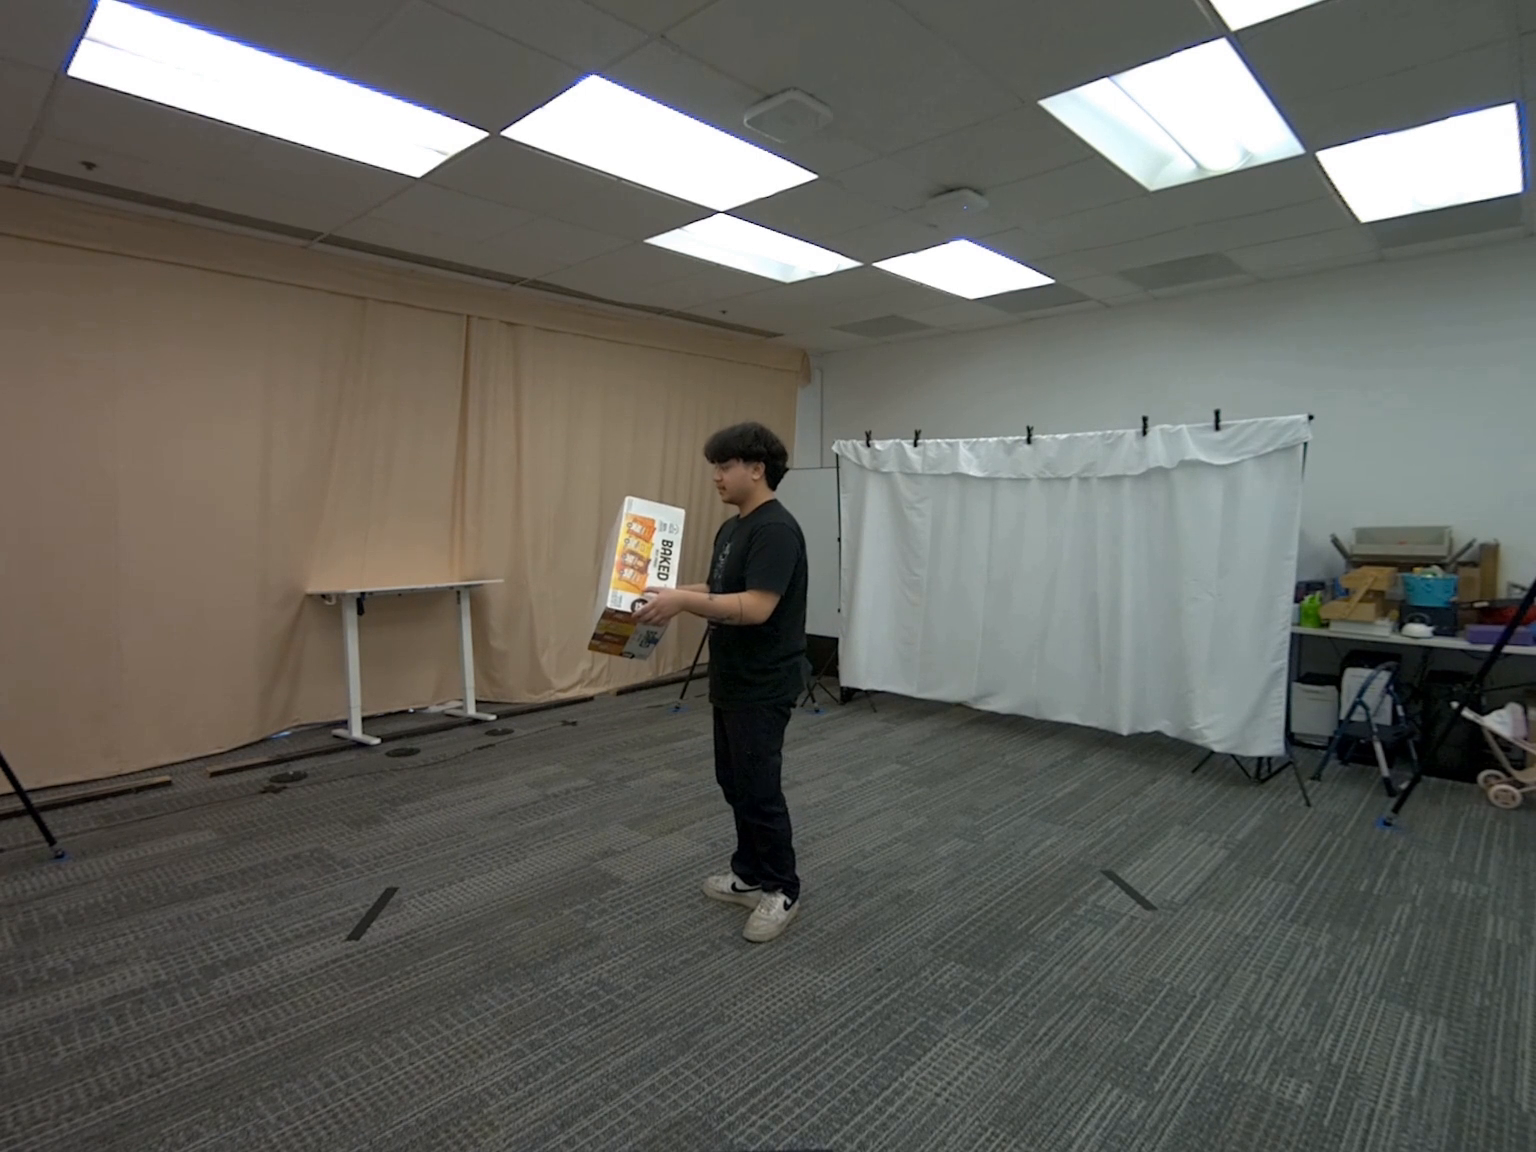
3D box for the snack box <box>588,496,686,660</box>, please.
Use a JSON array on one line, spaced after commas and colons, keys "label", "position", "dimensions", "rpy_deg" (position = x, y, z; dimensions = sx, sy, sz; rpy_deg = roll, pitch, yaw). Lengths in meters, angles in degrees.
[{"label": "snack box", "position": [-0.430, 0.012, 2.769], "dimensions": [0.202, 0.410, 0.341], "rpy_deg": [13, -31, -14]}]
